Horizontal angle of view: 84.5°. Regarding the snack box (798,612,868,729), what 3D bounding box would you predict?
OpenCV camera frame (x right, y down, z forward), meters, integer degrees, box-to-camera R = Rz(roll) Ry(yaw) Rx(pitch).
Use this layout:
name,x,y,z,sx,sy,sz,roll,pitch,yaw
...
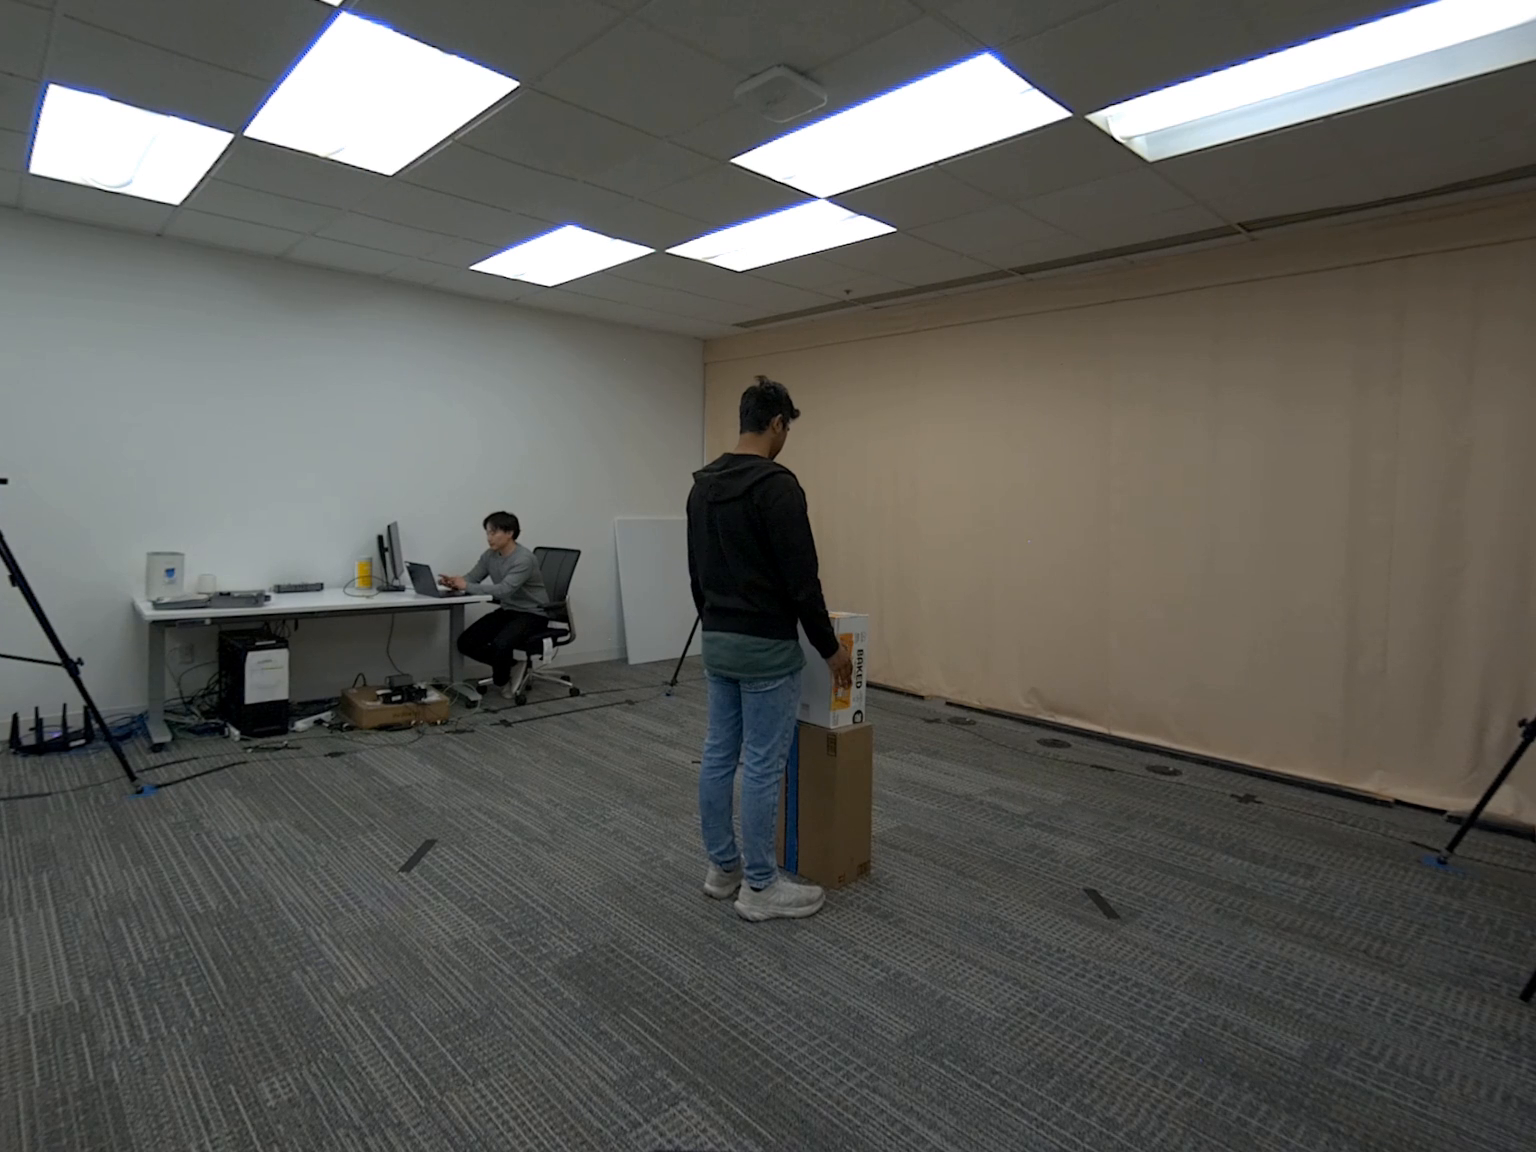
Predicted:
name,x,y,z,sx,sy,sz,roll,pitch,yaw
snack box,0.173,0.337,3.208,0.201,0.404,0.349,1,3,-44
